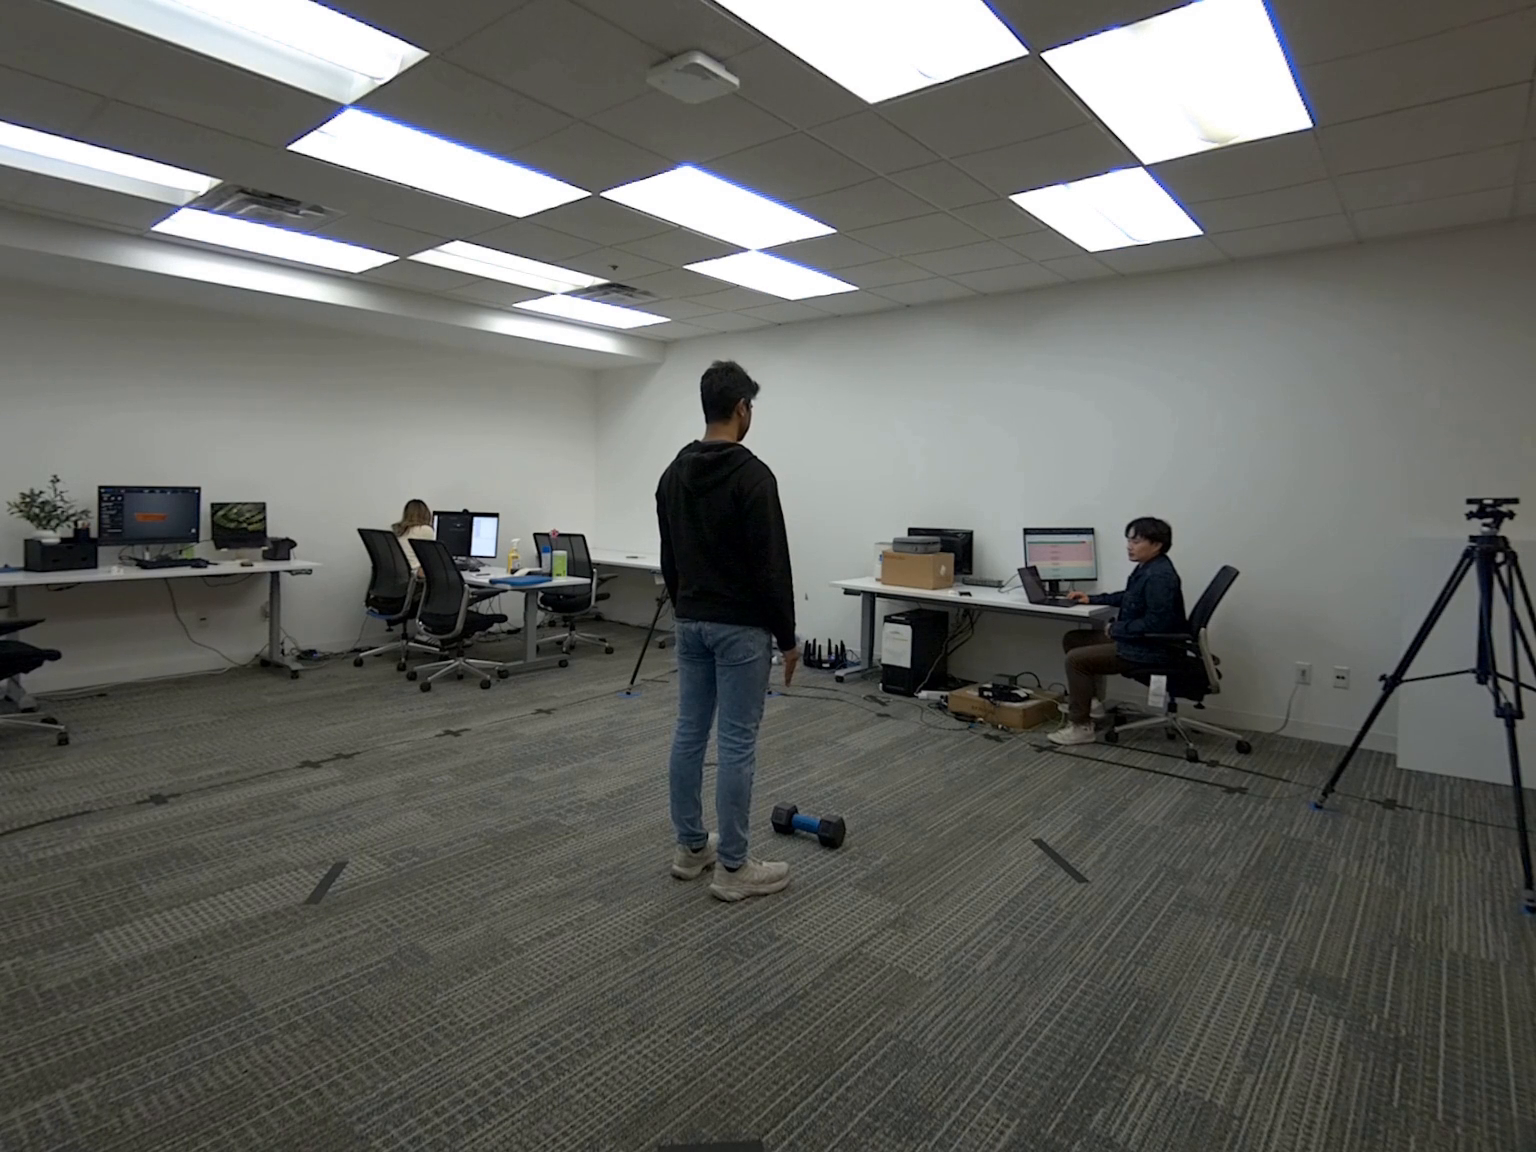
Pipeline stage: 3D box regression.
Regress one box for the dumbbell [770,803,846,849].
[{"bbox_3d":[0.153,0.991,3.403,0.303,0.108,0.120,5,8,33],"label":"dumbbell"}]
